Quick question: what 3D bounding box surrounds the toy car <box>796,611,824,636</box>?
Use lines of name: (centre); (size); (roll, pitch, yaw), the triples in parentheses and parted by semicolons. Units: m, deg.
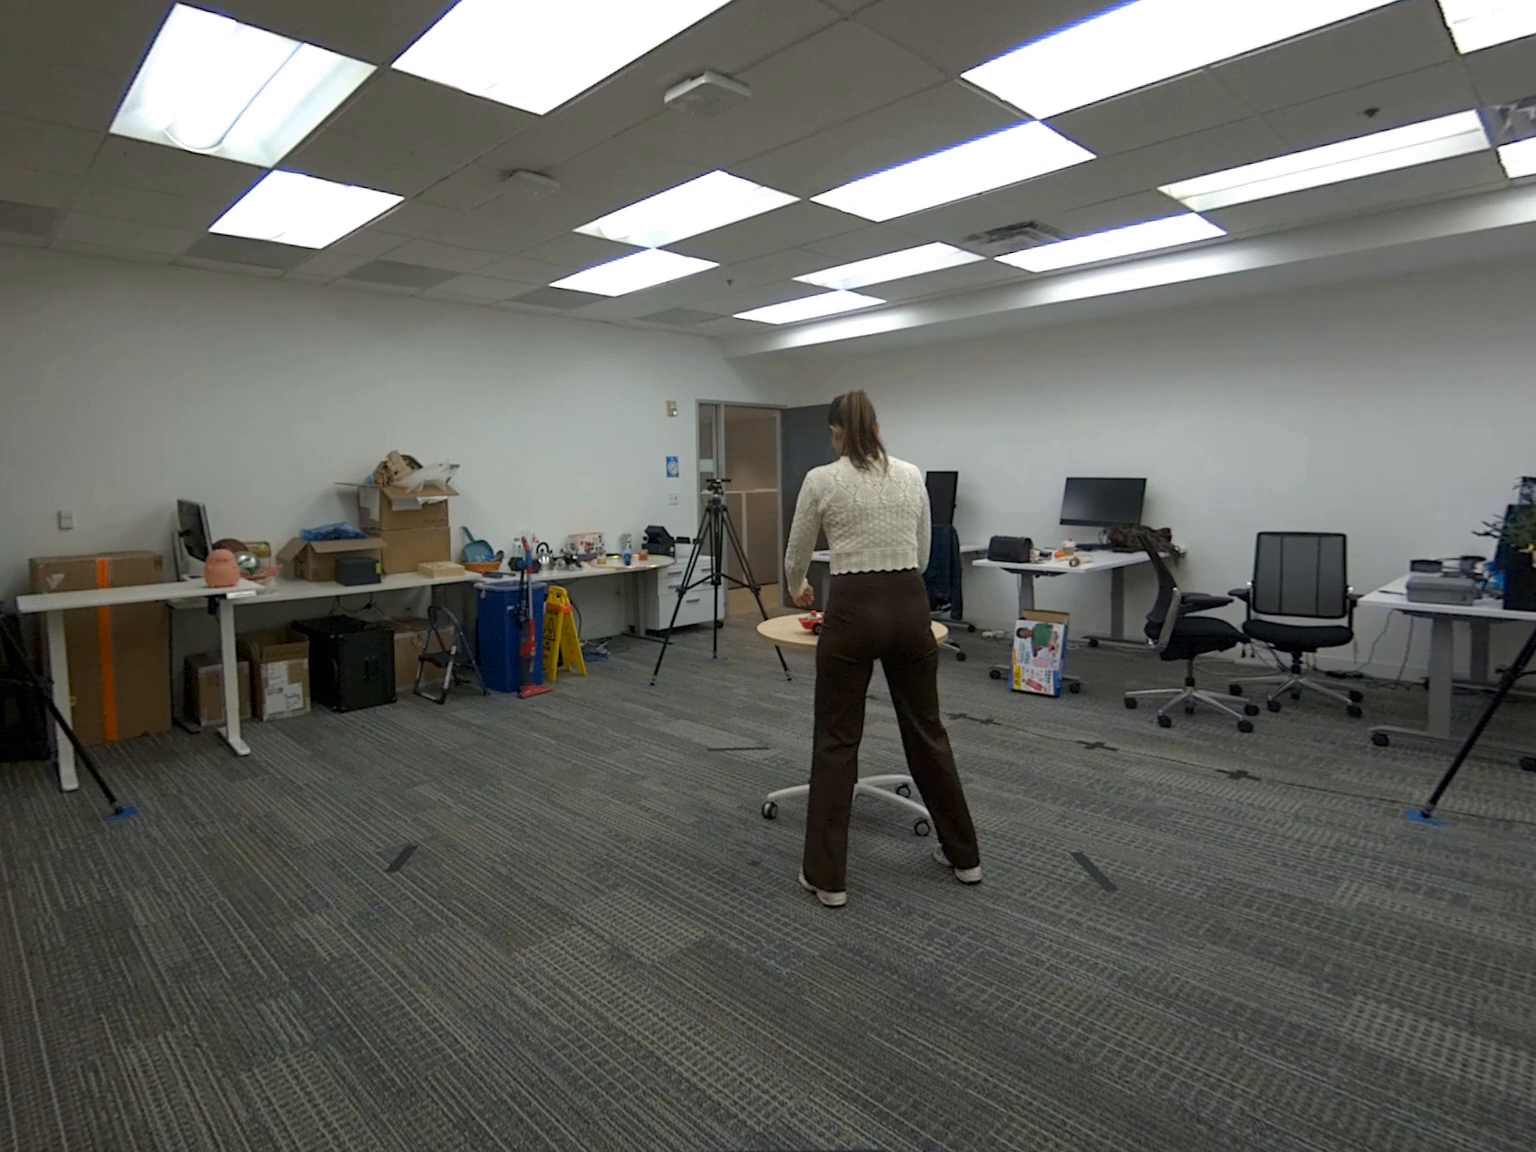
toy car: (0.250, 0.192, 3.383); (0.254, 0.083, 0.131); (10, 7, -2)
